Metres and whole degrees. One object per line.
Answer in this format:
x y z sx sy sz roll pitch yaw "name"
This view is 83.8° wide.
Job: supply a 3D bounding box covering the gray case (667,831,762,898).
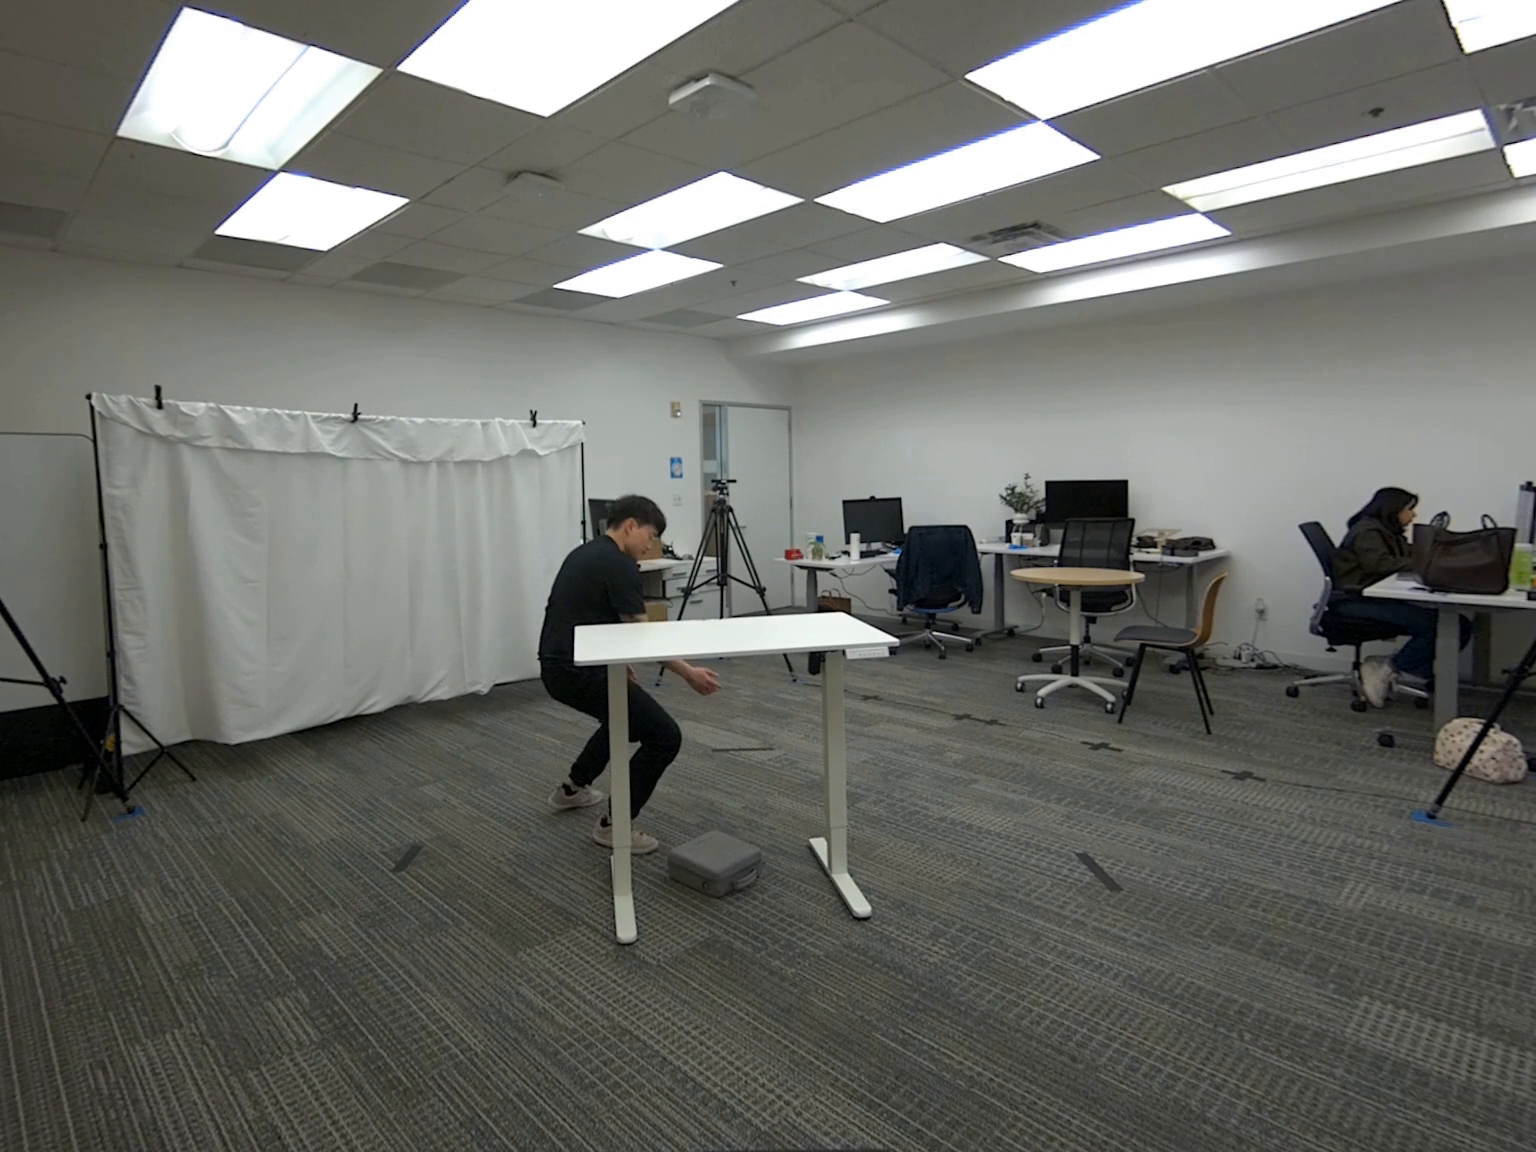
-0.178 1.001 3.004 0.269 0.104 0.250 7 8 43 "gray case"
